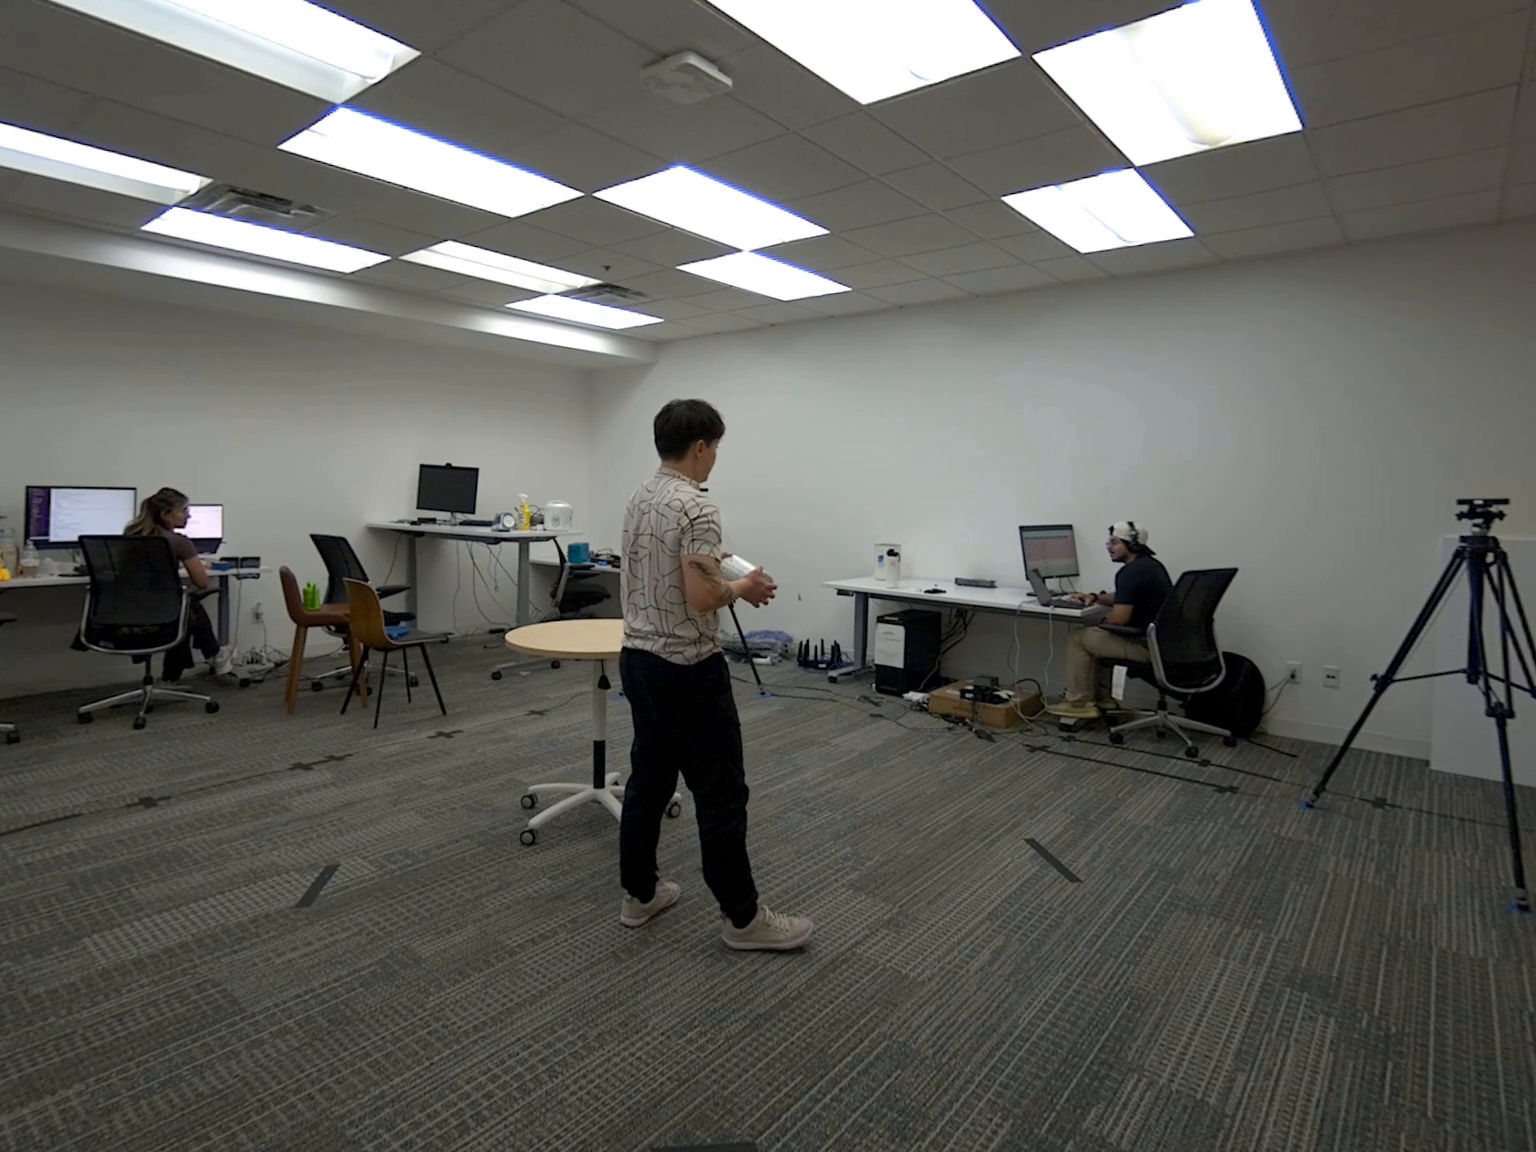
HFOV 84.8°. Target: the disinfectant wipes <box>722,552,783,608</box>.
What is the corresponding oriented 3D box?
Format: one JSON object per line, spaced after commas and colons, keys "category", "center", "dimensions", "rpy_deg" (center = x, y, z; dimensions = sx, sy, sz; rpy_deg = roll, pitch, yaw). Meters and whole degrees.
{"category": "disinfectant wipes", "center": [-0.076, 0.007, 2.786], "dimensions": [0.114, 0.116, 0.226], "rpy_deg": [-2, 17, -37]}
